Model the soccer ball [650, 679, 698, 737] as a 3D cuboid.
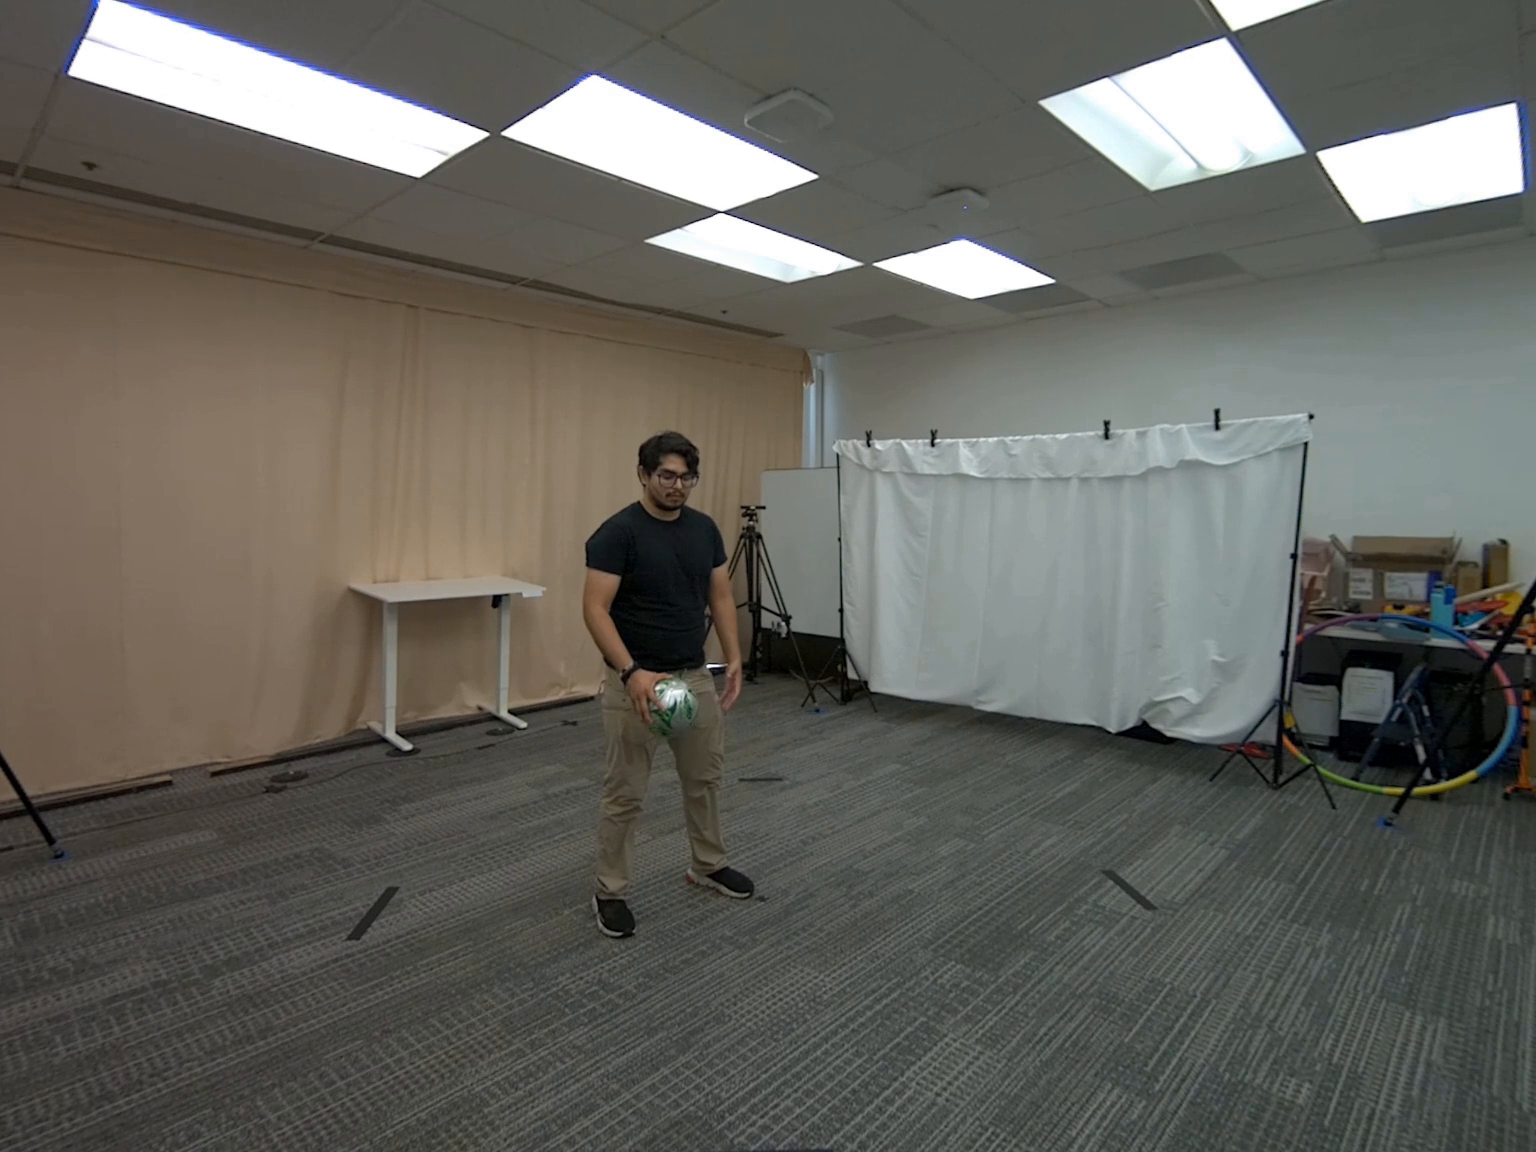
[{"bbox_3d":[-0.299,0.396,2.589,0.187,0.187,0.188,0,4,-2],"label":"soccer ball"}]
